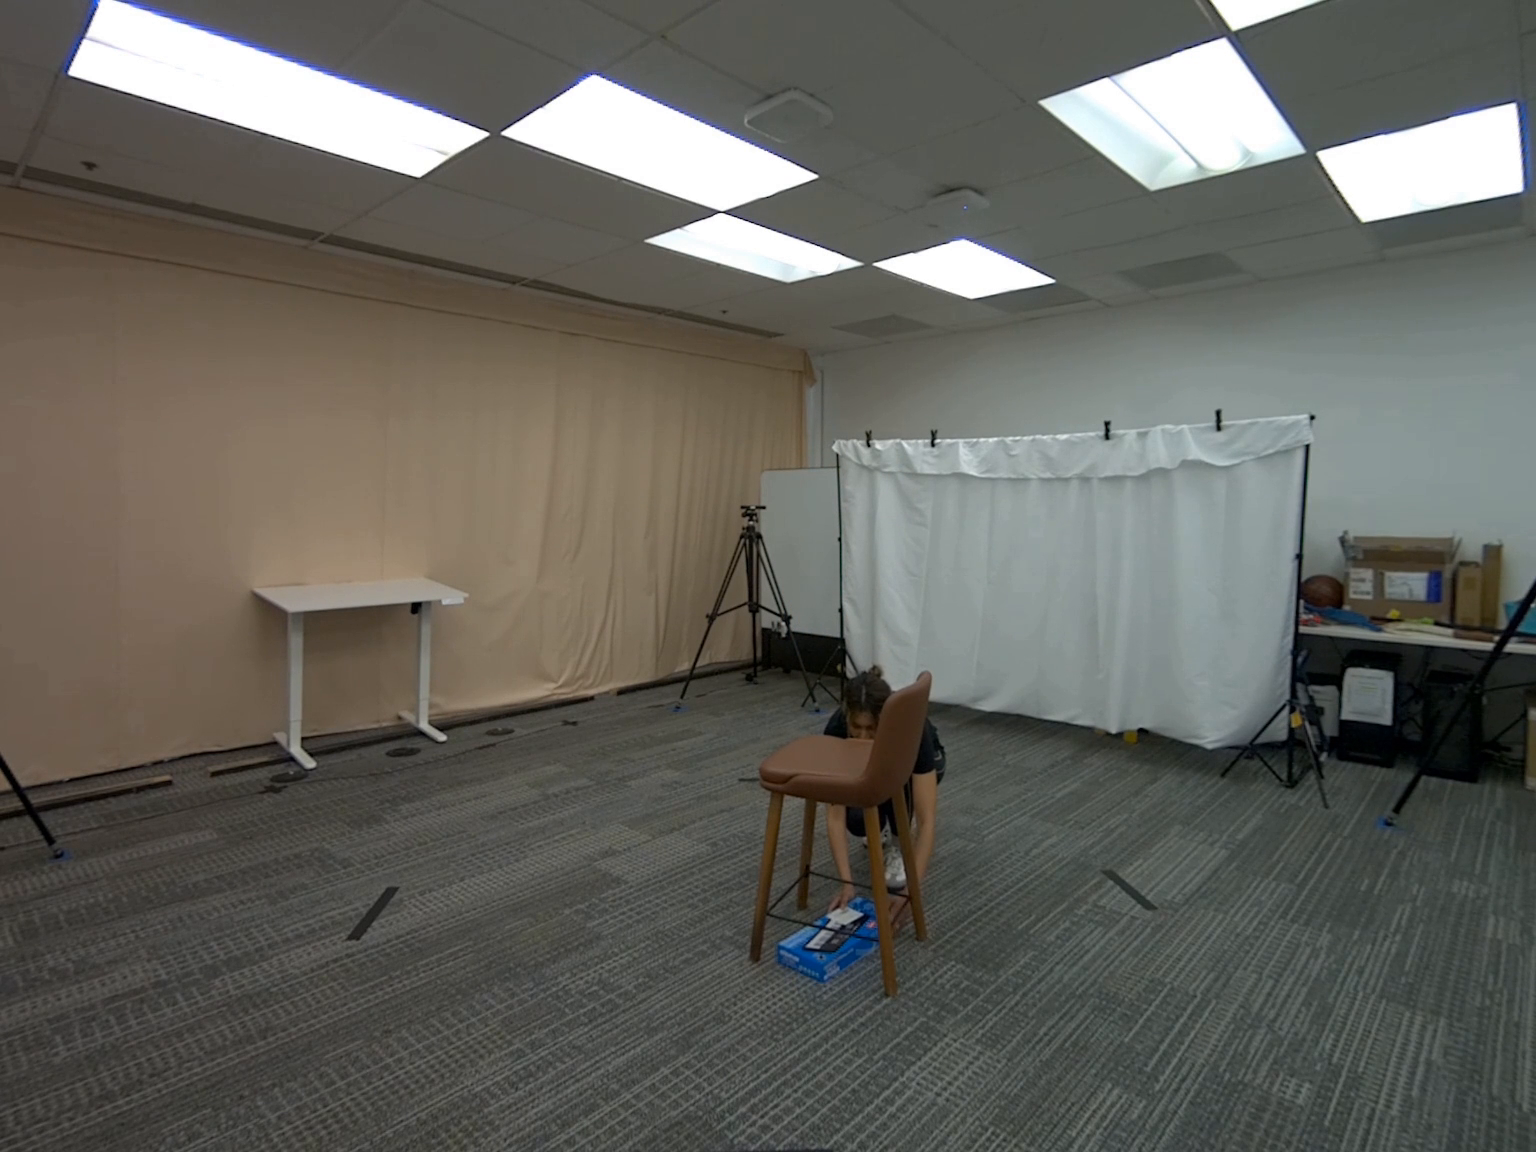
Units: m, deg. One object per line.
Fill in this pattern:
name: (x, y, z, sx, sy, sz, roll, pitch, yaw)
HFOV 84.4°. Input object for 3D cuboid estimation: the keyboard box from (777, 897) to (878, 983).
keyboard box: (0.236, 1.145, 2.664, 0.182, 0.059, 0.424, 5, 7, 40)
